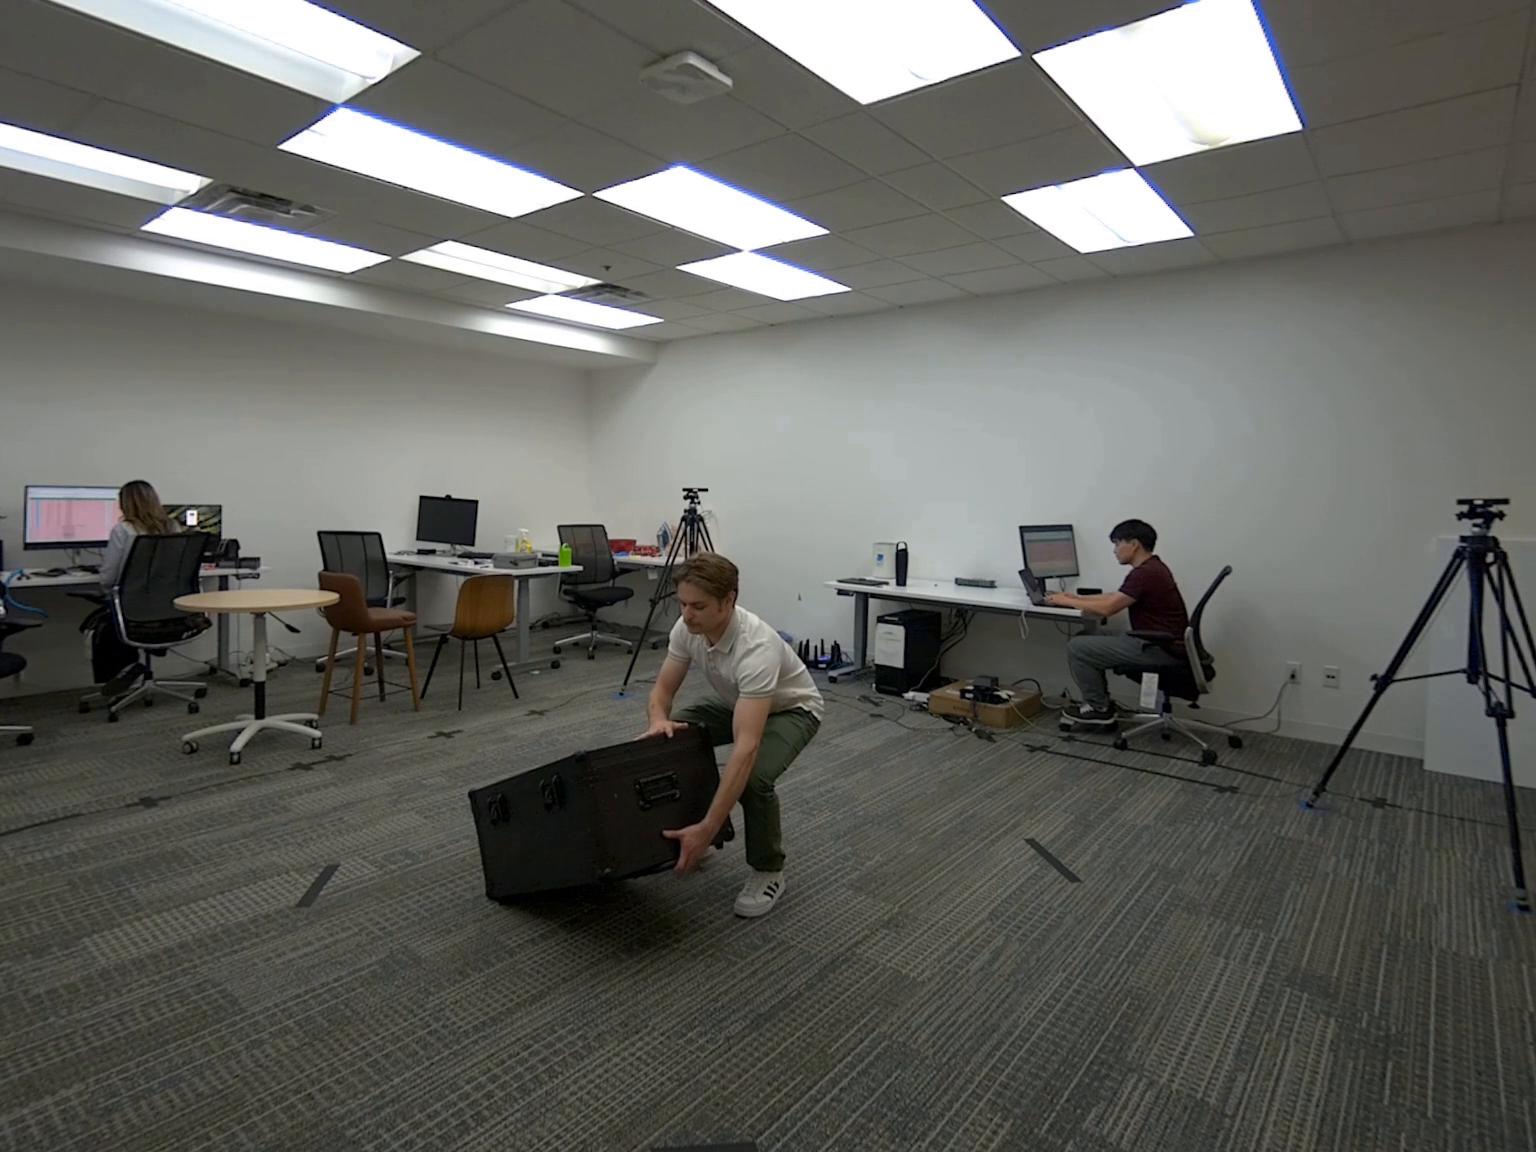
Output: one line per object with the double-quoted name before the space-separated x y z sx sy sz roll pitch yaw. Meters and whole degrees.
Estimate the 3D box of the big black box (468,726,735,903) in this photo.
"big black box" -0.598 0.789 2.811 0.508 0.391 0.880 -6 -15 -42
